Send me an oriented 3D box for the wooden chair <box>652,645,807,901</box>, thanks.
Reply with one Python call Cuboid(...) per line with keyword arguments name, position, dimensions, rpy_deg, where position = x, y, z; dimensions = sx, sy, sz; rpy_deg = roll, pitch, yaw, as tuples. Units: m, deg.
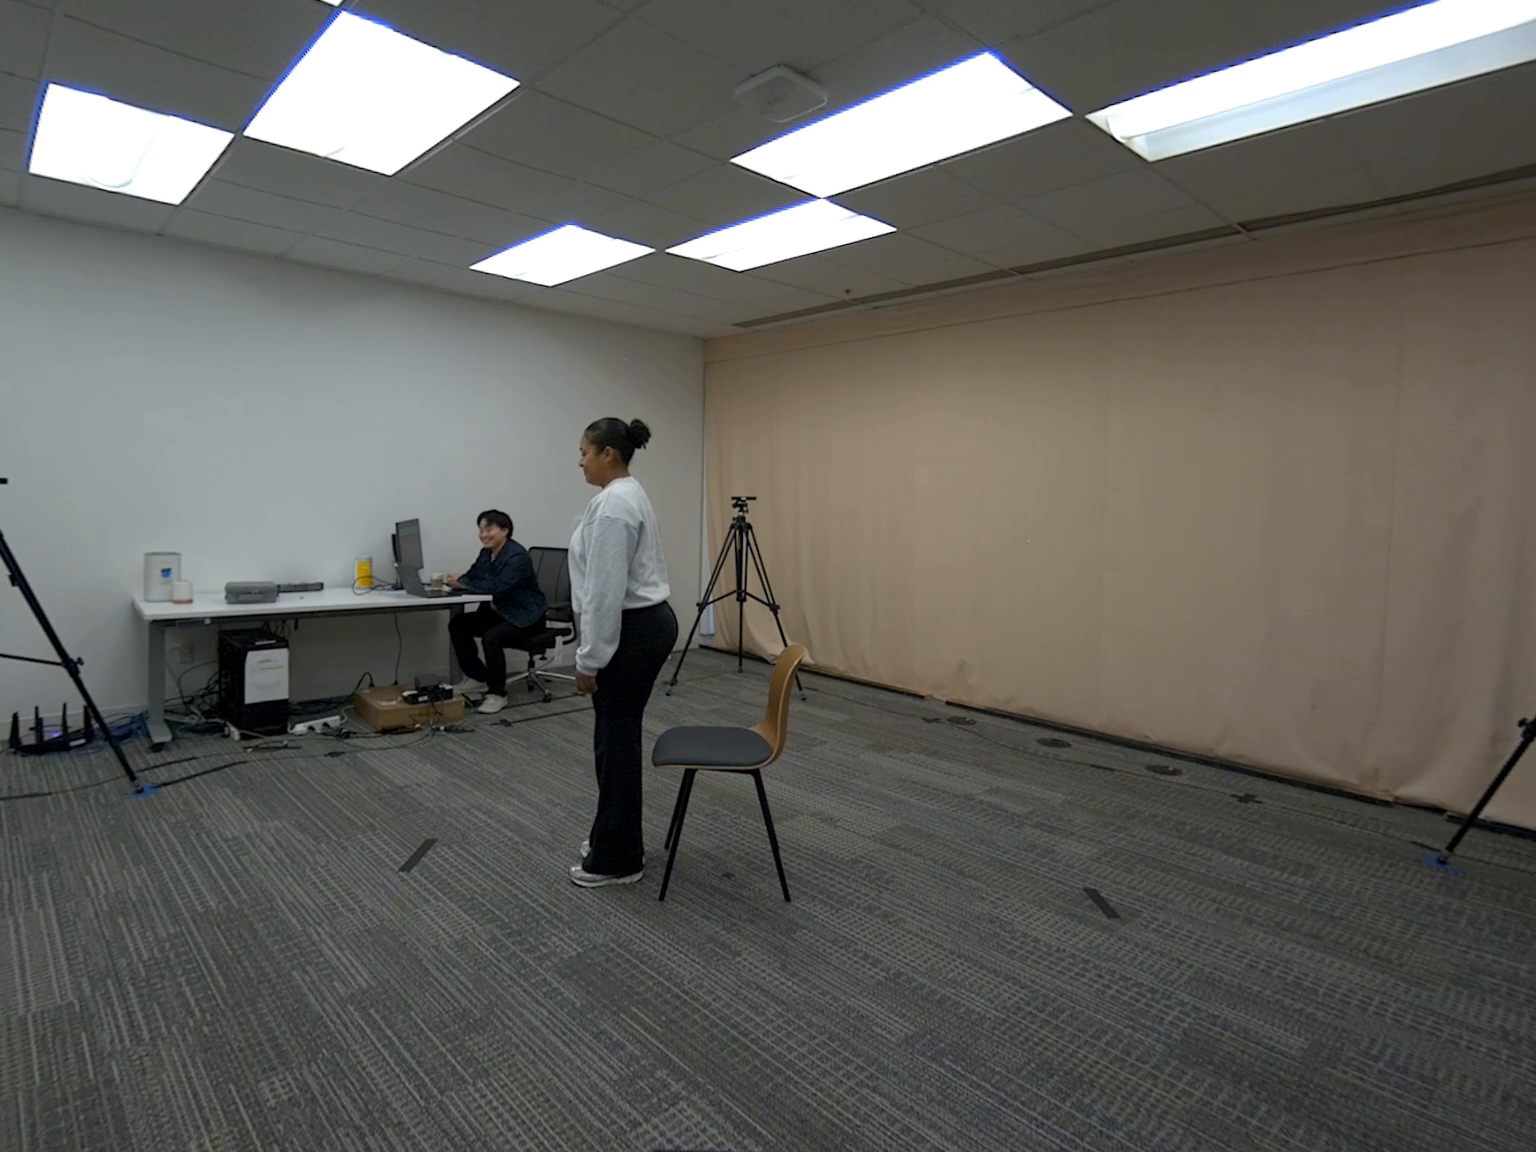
Cuboid(name="wooden chair", position=(-0.165, 0.676, 3.089), dimensions=(0.521, 0.875, 0.481), rpy_deg=(5, 4, -4))
